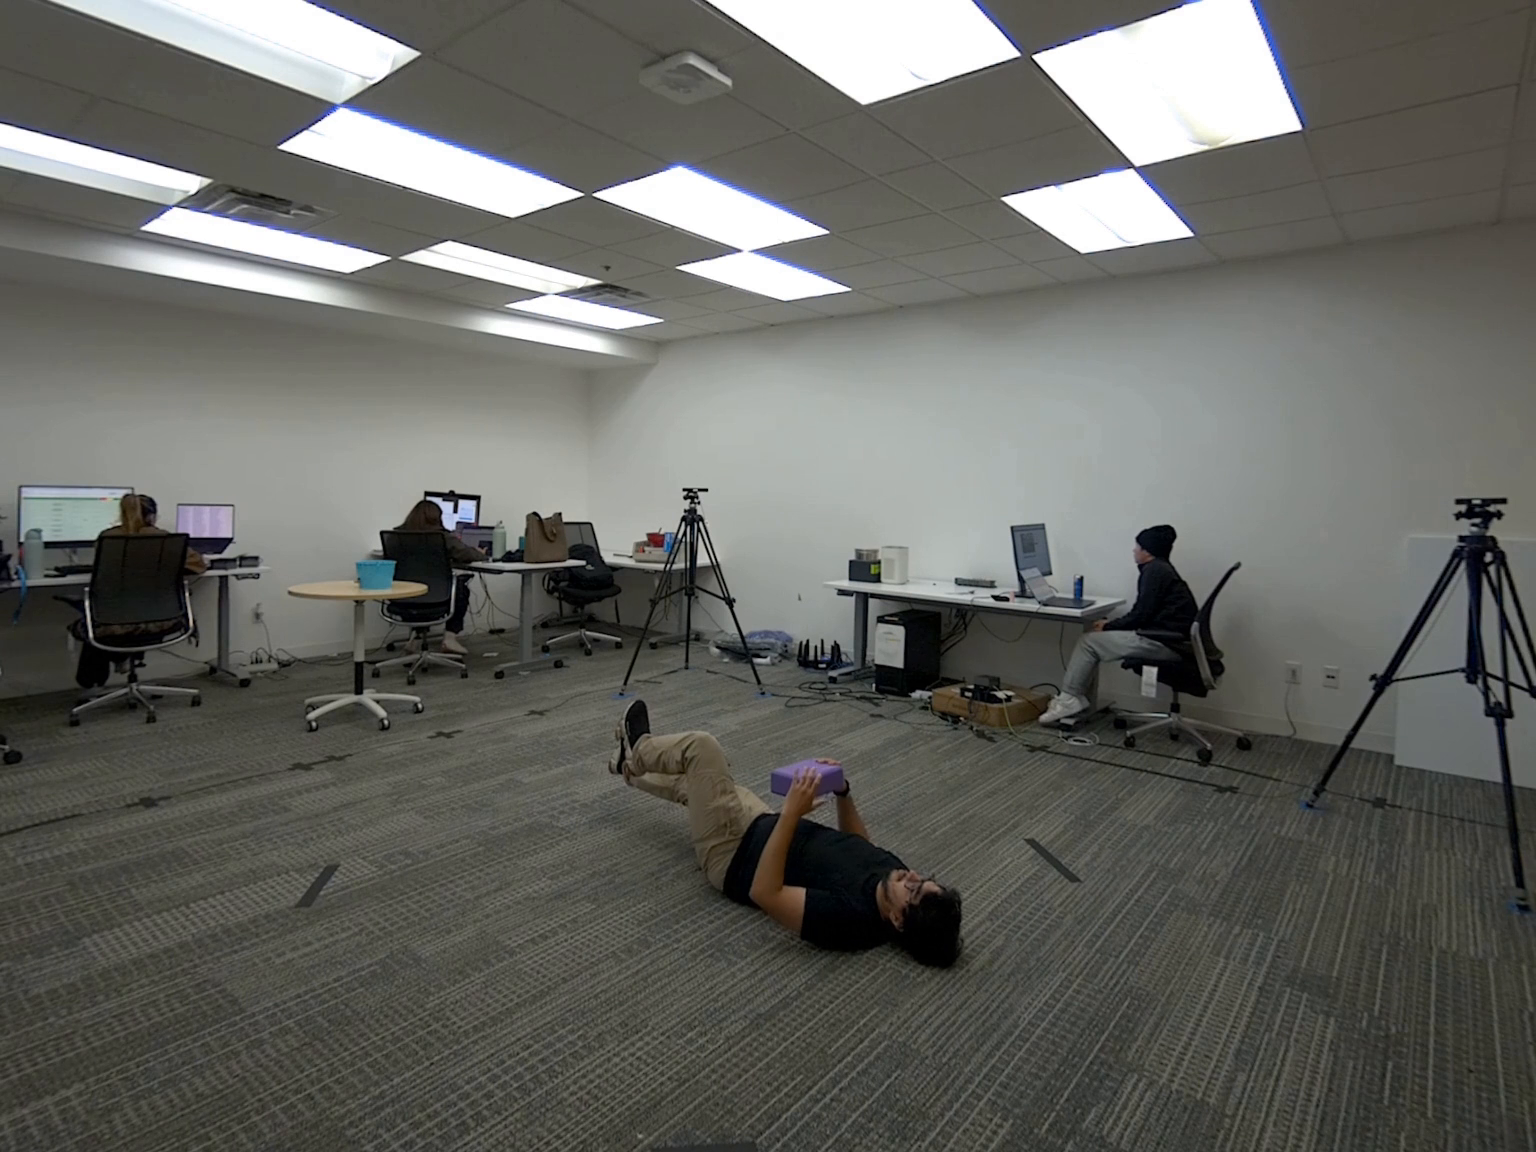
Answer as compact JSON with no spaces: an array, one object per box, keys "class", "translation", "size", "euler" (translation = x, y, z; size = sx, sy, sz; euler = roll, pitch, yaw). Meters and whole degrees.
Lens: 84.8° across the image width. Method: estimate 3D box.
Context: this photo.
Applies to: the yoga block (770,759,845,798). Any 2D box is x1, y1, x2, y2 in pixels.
[{"class":"yoga block","translation":[0.117,0.683,2.862],"size":[0.154,0.076,0.222],"euler":[3,3,35]}]
